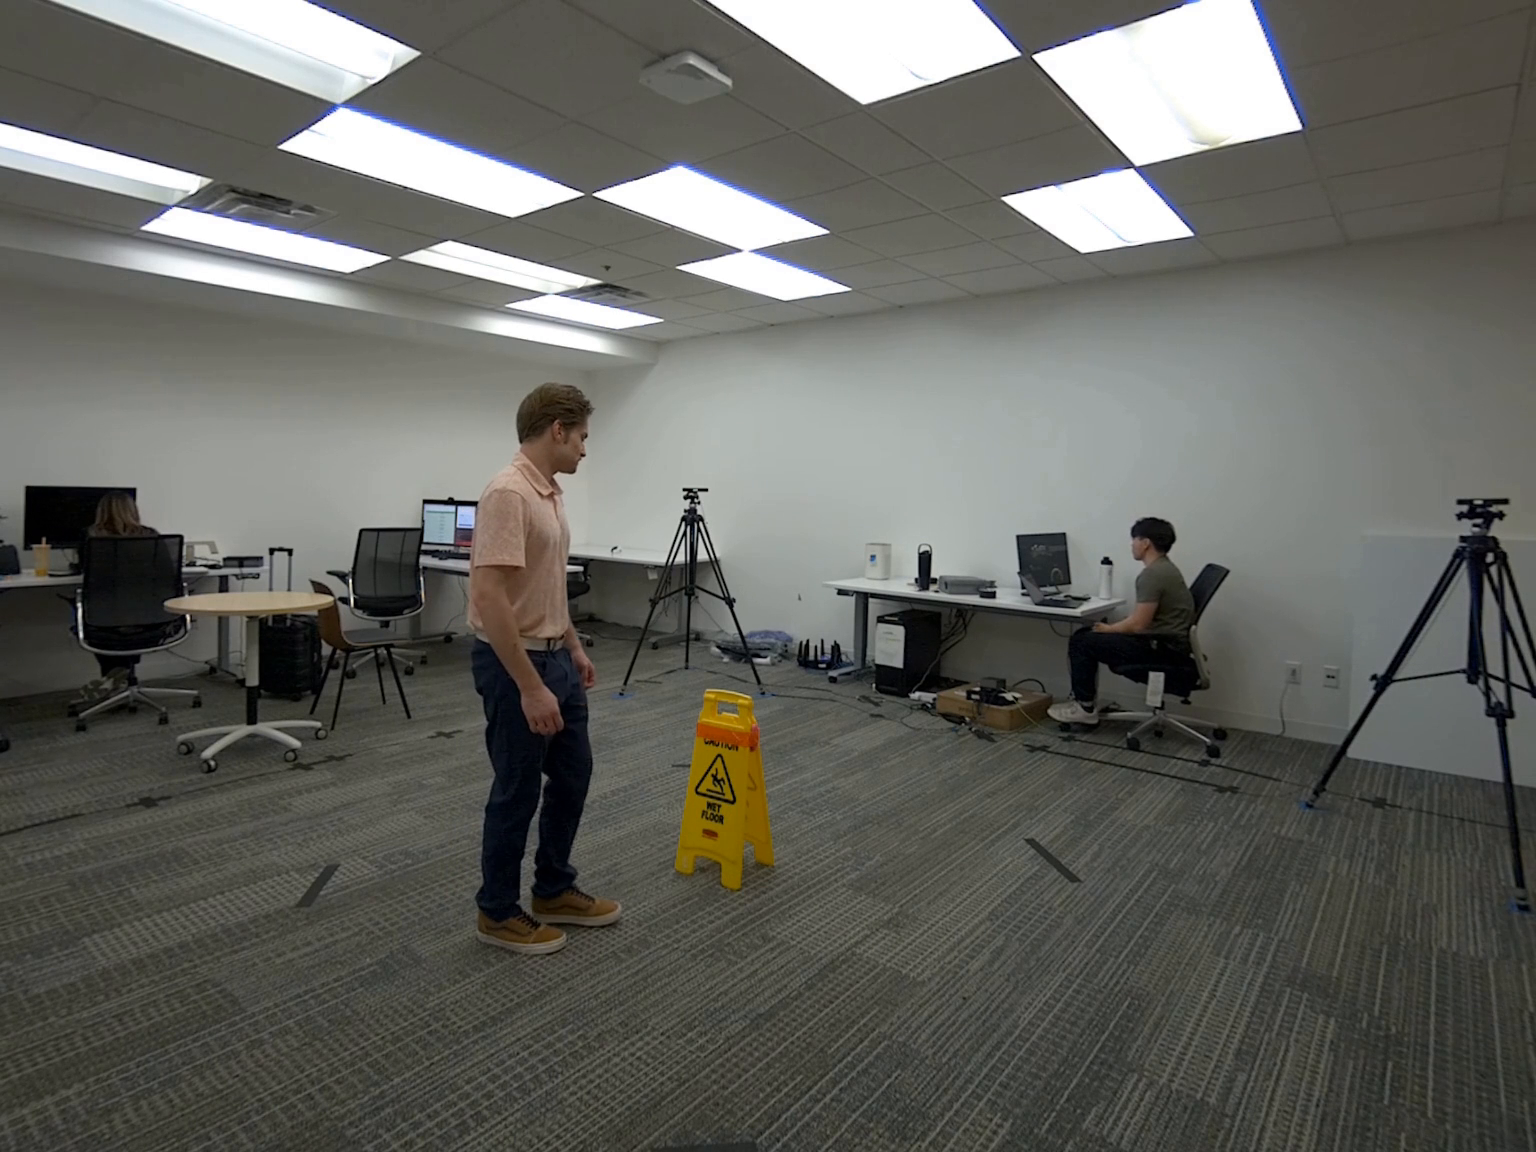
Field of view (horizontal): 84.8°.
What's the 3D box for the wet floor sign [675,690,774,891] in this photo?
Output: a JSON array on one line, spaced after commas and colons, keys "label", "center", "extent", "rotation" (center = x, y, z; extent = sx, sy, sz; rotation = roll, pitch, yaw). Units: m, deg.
[{"label": "wet floor sign", "center": [-0.163, 0.745, 3.105], "extent": [0.291, 0.644, 0.282], "rotation": [2, 4, 32]}]
